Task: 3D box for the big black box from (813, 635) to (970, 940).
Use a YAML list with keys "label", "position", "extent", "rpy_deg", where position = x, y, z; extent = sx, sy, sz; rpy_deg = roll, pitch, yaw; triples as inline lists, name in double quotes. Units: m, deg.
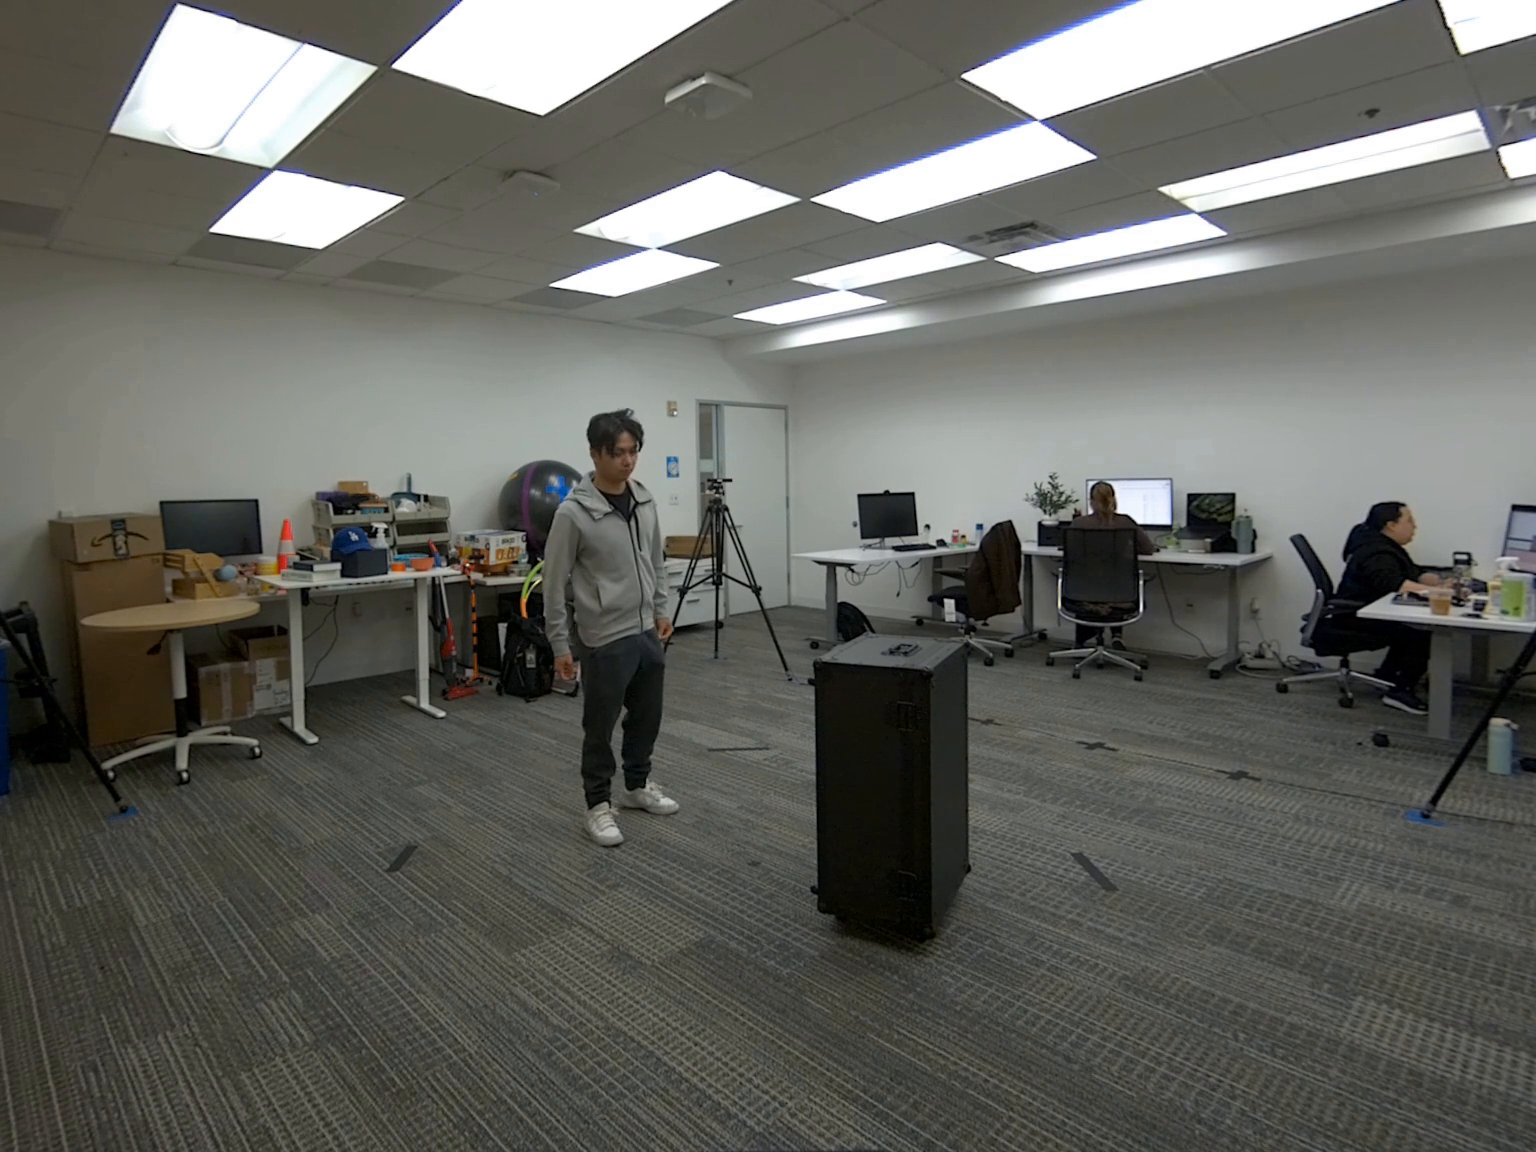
- label: "big black box"
  position: [0.399, 0.657, 2.718]
  extent: [0.406, 0.859, 0.510]
  rpy_deg: [0, 4, 27]
